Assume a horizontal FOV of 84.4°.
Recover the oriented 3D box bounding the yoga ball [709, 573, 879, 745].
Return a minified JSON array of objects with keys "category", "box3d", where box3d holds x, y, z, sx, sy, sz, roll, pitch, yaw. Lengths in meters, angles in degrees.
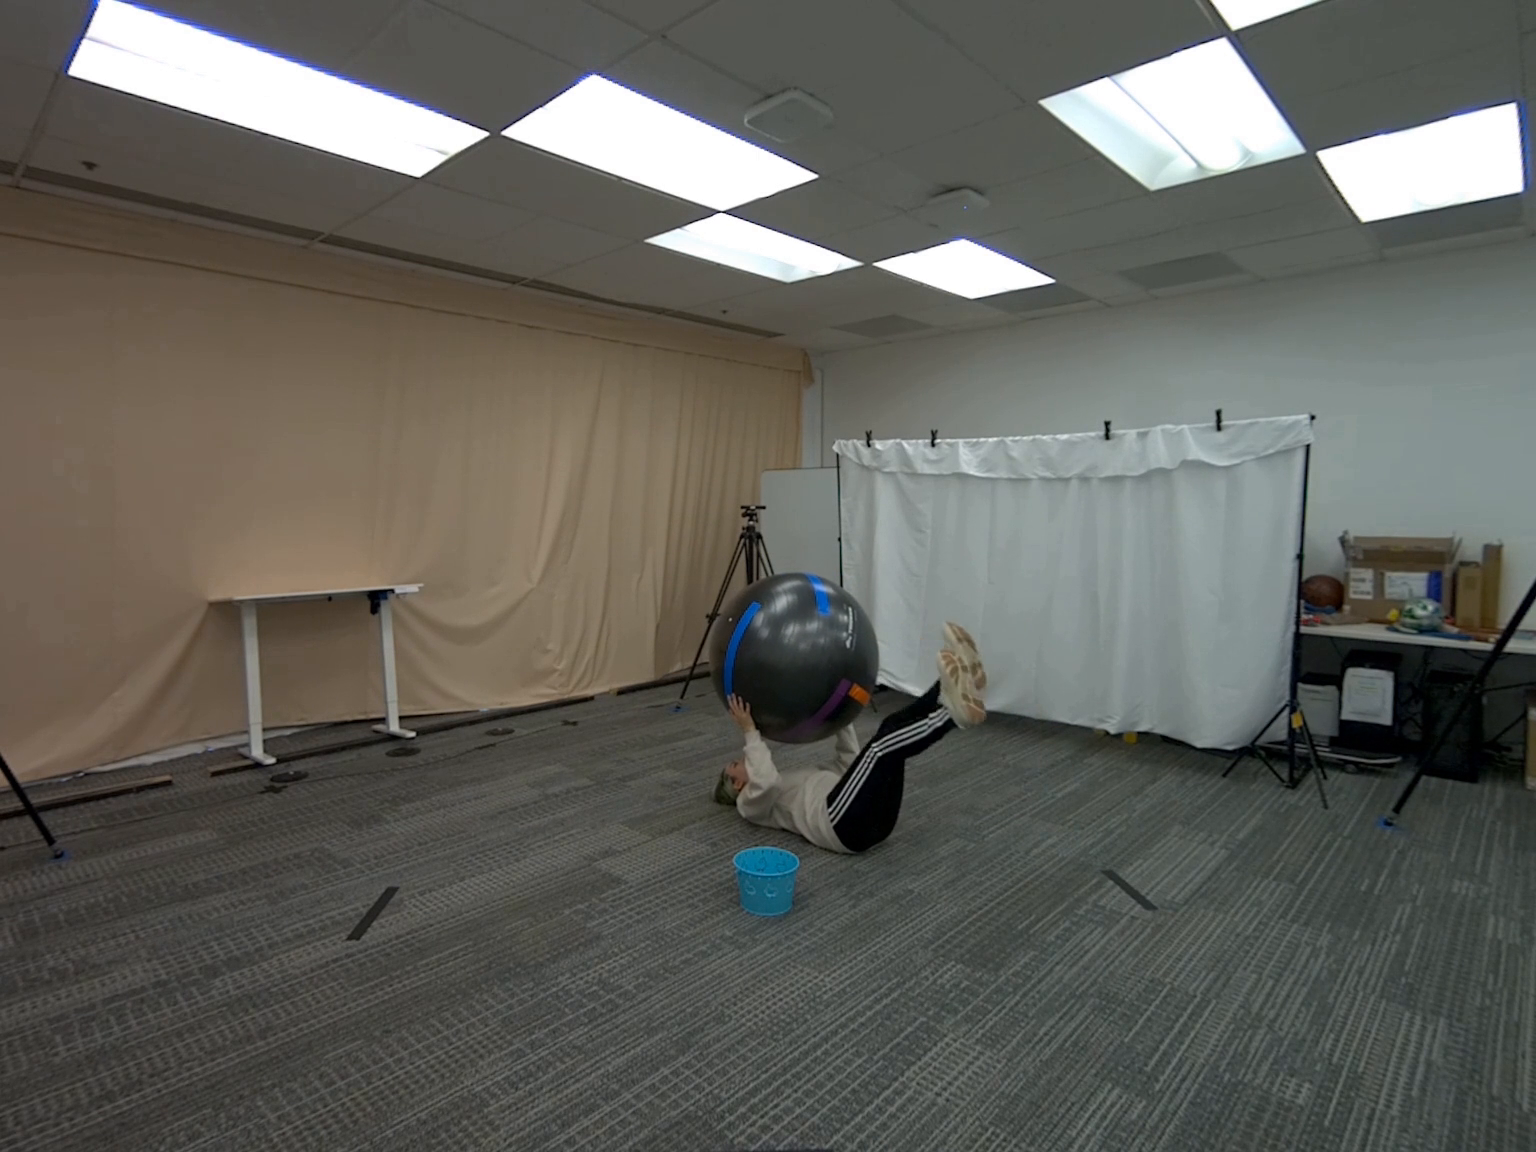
[{"category":"yoga ball","box3d":[0.113,0.365,3.776,0.757,0.756,0.760,0,4,-2]}]
